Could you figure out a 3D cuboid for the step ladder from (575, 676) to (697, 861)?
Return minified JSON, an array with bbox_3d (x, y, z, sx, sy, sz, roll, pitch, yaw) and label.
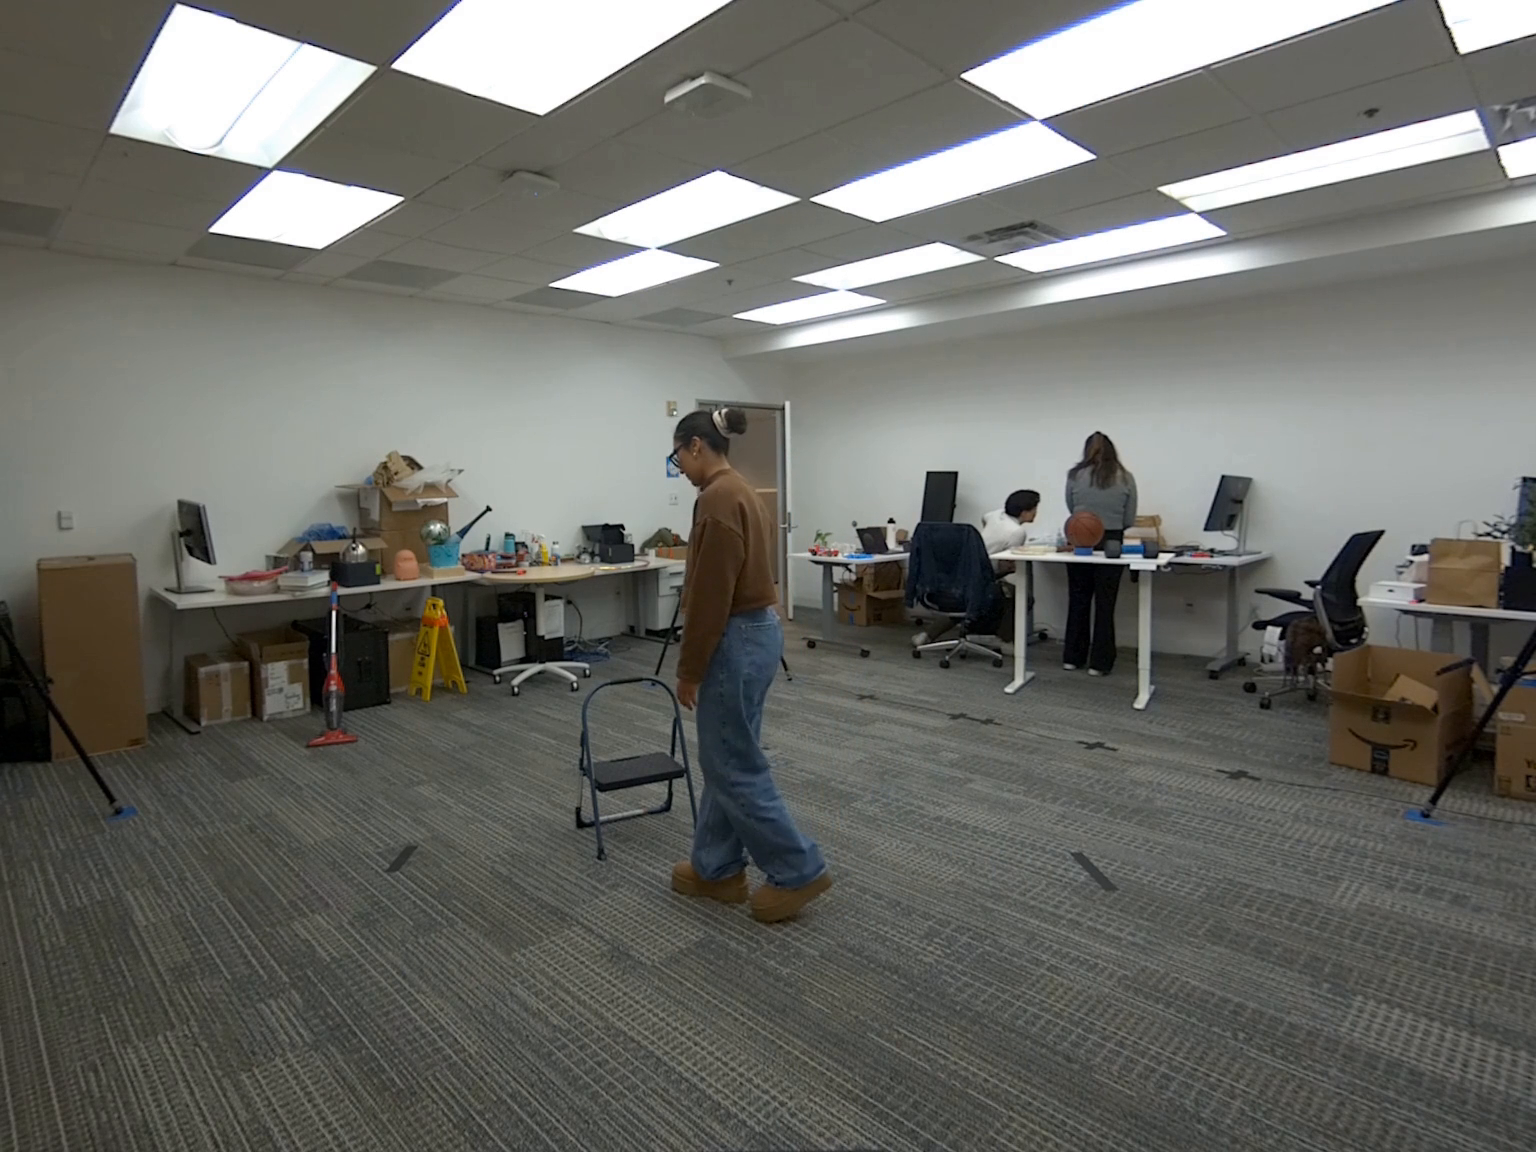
[{"bbox_3d":[-0.524,0.717,3.383,0.421,0.604,0.358,-3,5,-28],"label":"step ladder"}]
